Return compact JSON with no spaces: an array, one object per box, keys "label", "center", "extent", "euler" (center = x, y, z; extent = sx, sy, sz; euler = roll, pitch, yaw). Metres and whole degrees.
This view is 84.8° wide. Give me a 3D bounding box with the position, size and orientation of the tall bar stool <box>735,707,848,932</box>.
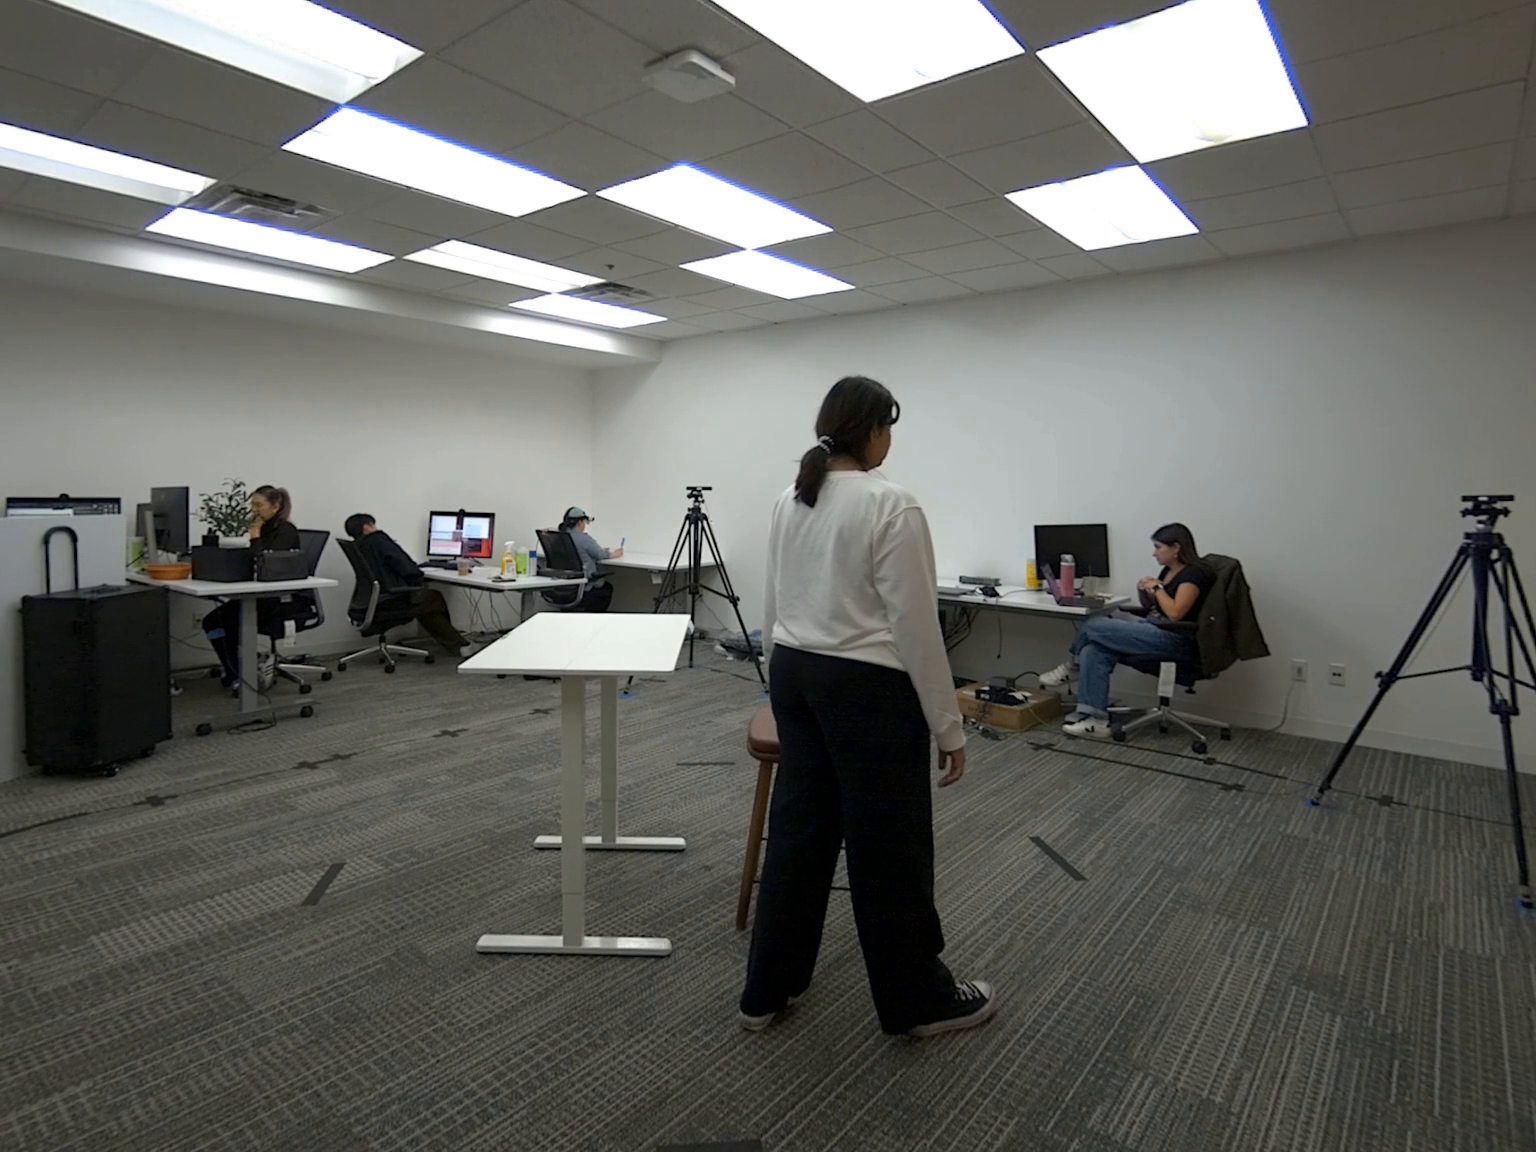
[{"label":"tall bar stool","center":[0.158,0.667,2.820],"extent":[0.472,0.887,0.454],"euler":[4,4,7]}]
